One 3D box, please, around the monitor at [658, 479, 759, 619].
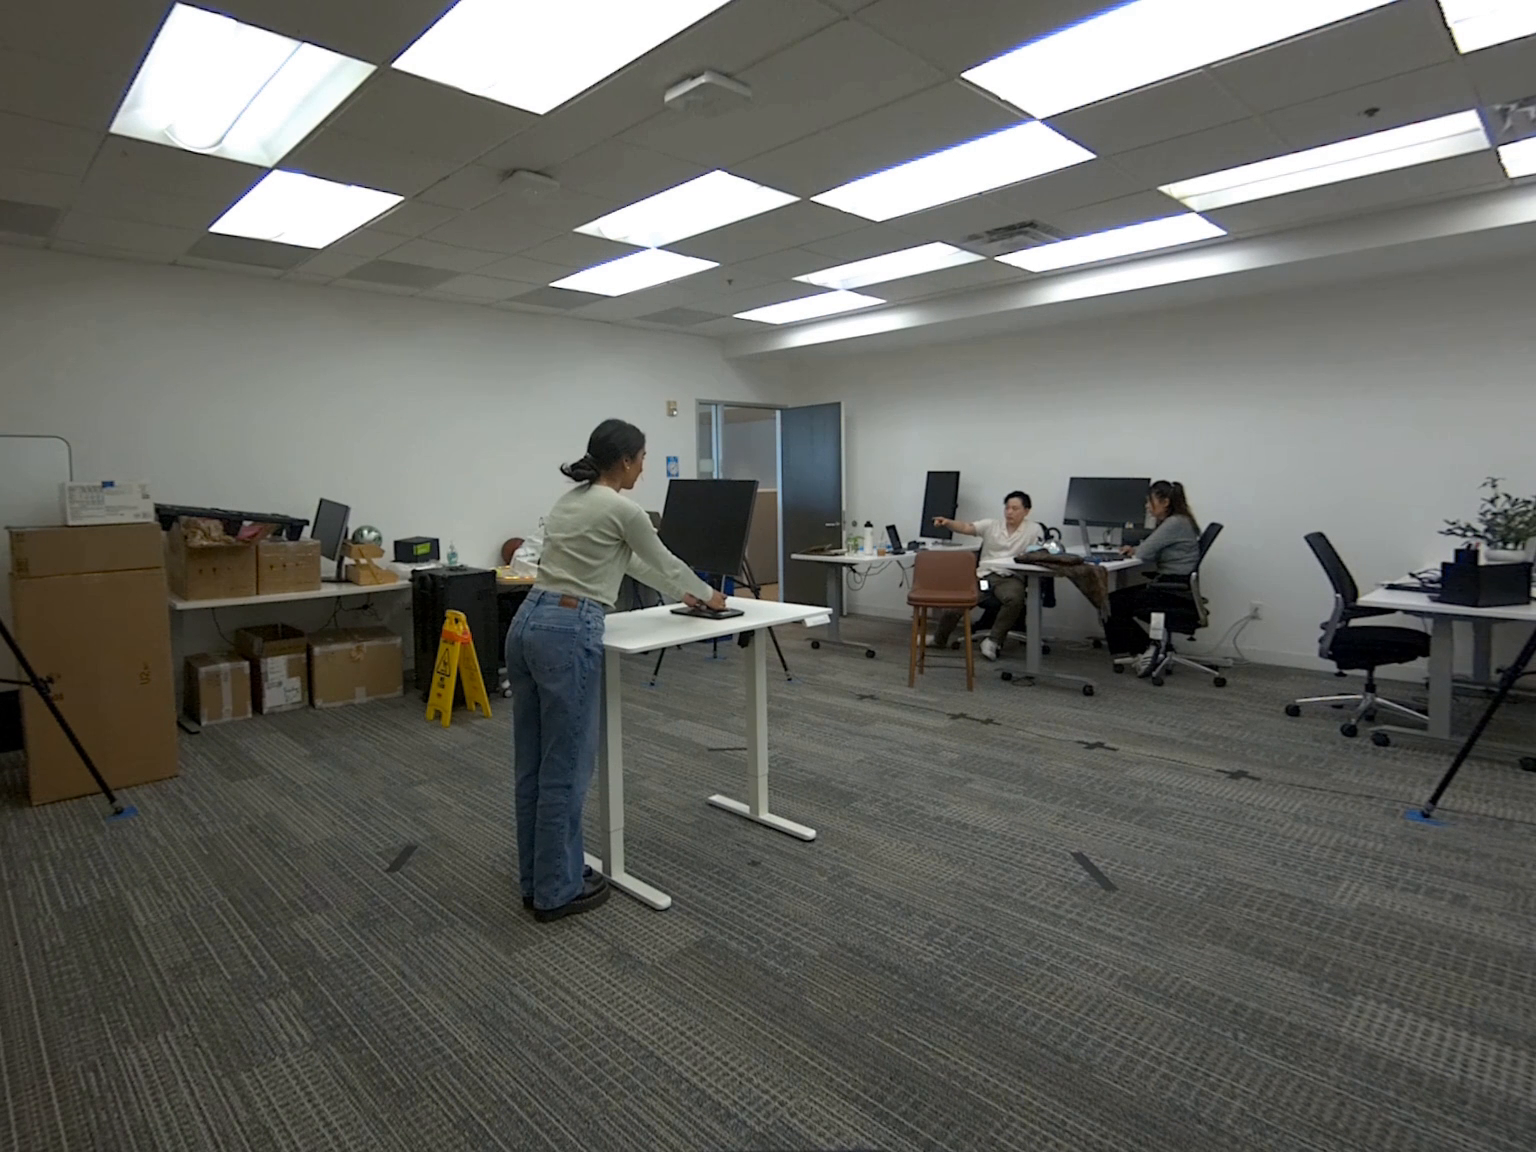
[{"bbox_3d":[-0.223,-0.108,3.263,0.182,0.521,0.556,-3,6,-41],"label":"monitor"}]
